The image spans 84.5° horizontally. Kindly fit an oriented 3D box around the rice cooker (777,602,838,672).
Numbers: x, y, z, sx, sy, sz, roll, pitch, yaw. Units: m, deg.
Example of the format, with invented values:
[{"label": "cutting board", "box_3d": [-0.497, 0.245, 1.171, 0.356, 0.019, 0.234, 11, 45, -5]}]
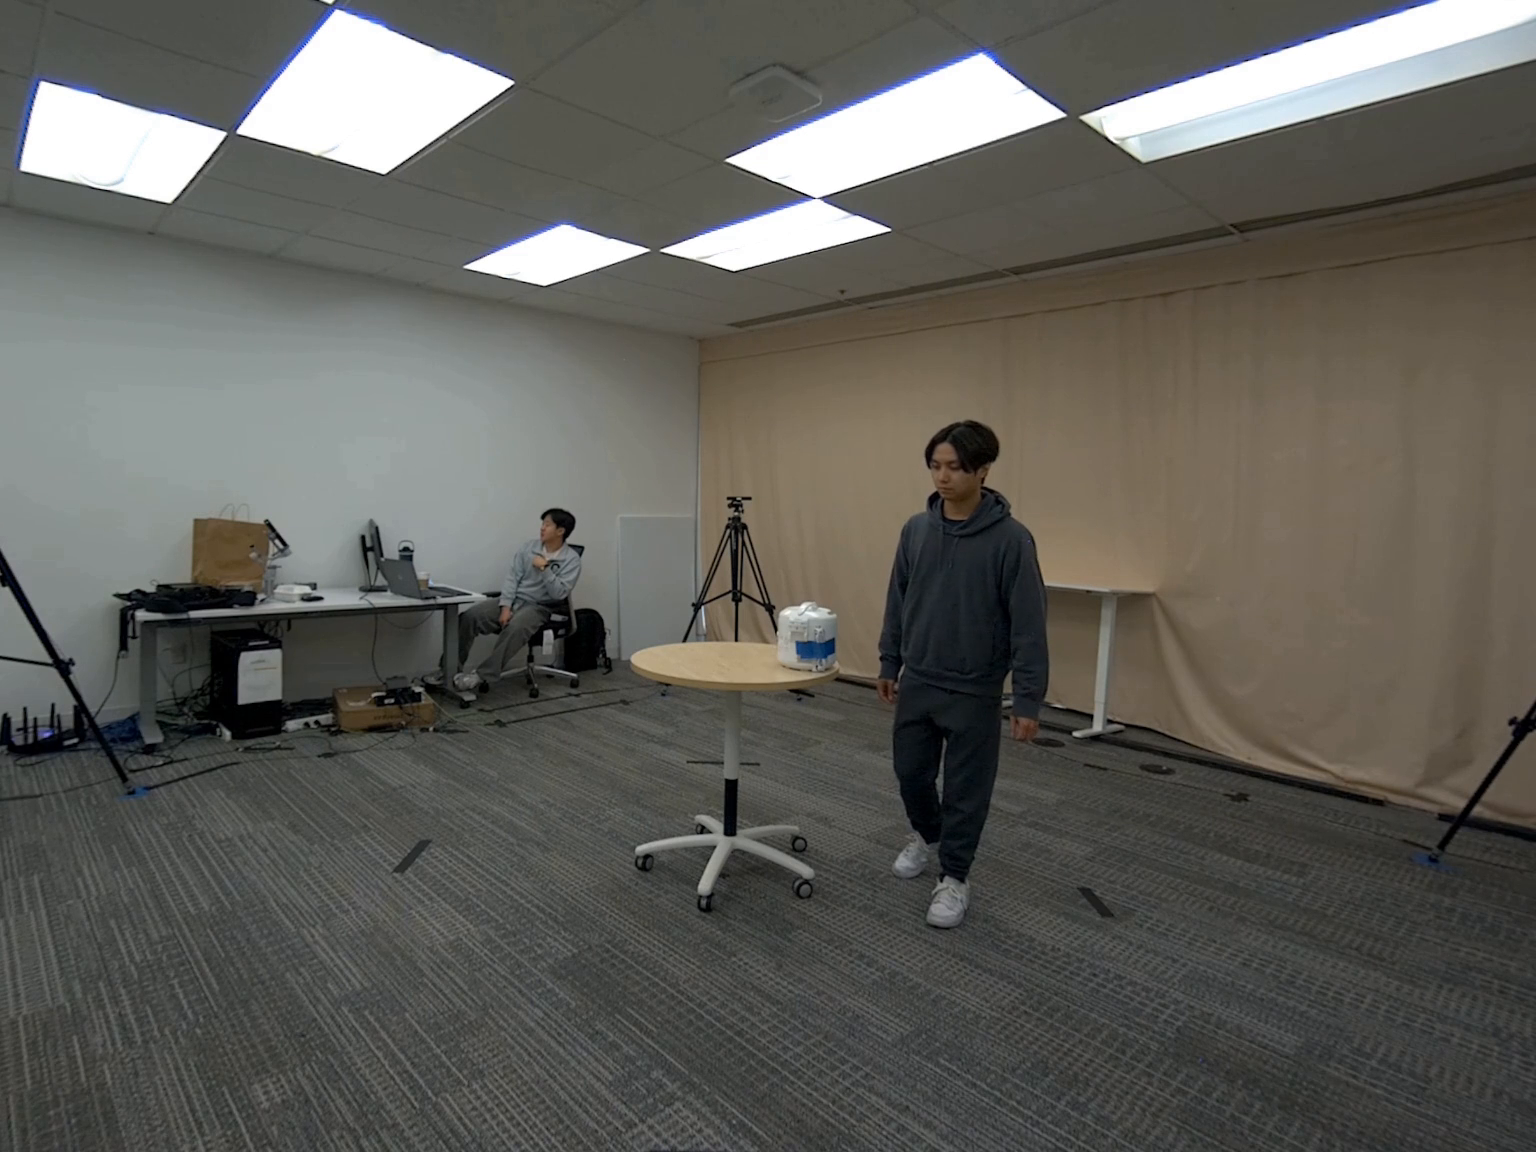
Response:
[{"label": "rice cooker", "box_3d": [0.138, 0.209, 3.015, 0.221, 0.232, 0.217, 5, 5, 23]}]
